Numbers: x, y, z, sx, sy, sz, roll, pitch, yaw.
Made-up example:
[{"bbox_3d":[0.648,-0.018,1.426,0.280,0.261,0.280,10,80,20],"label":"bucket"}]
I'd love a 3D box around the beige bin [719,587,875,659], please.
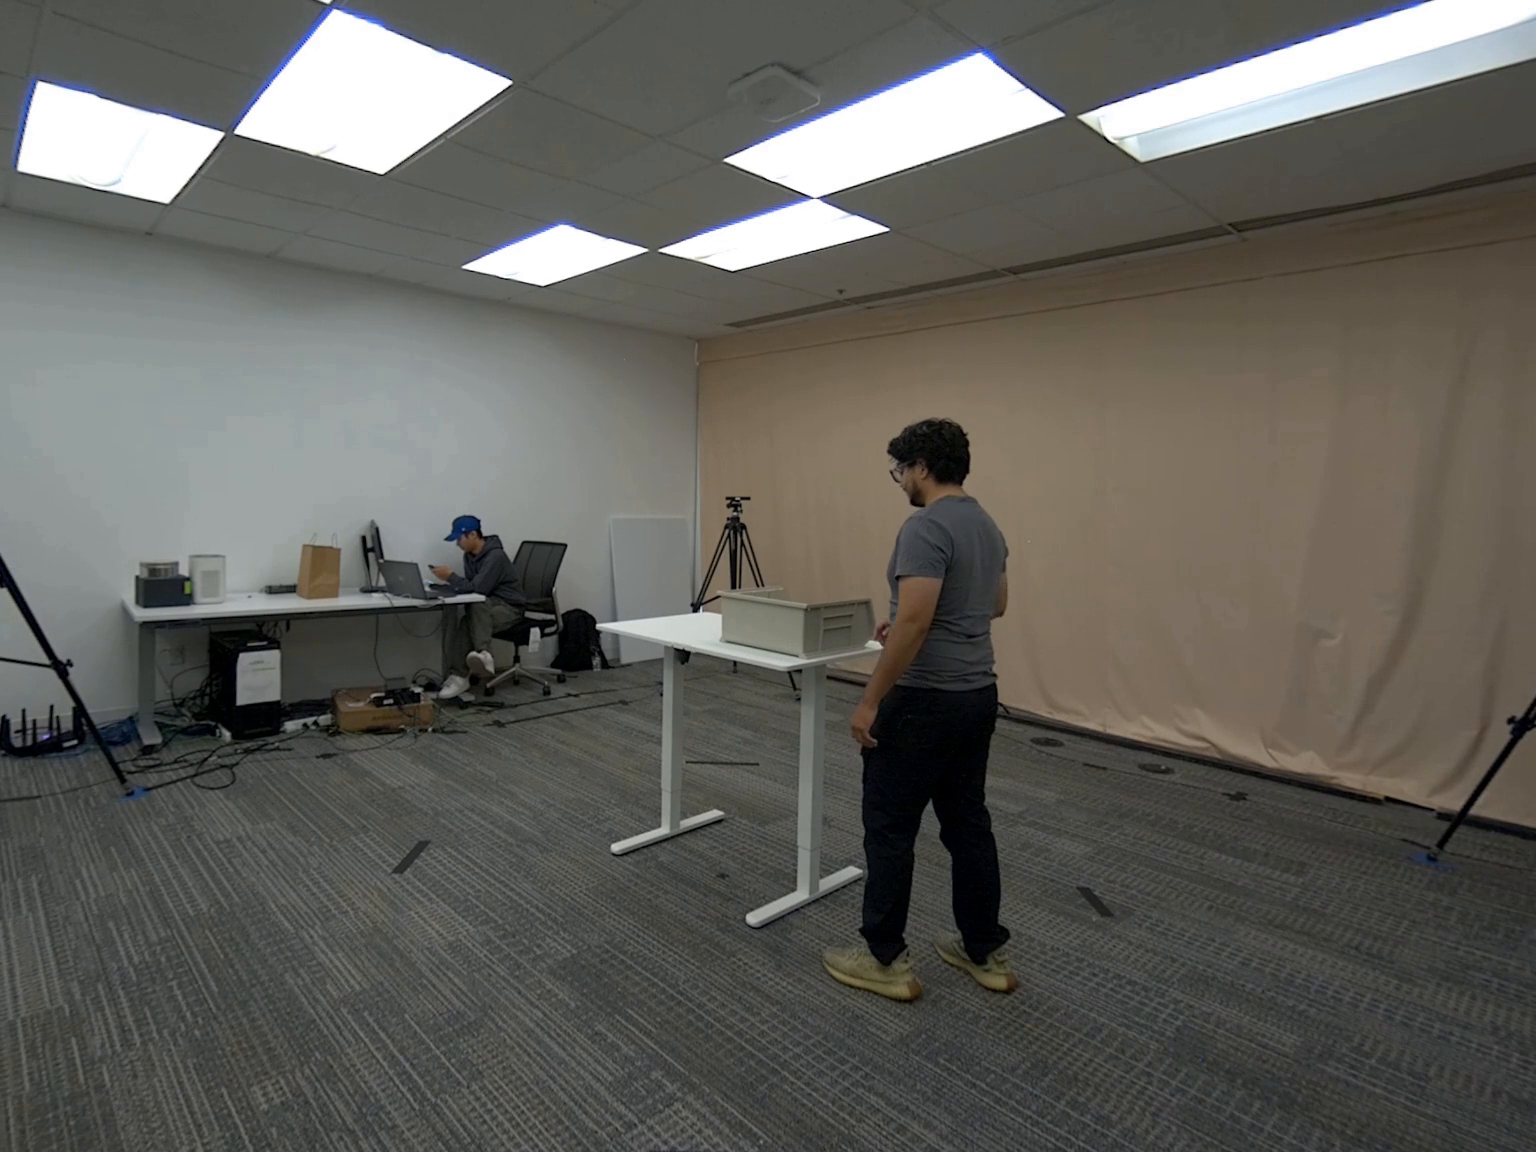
[{"bbox_3d":[0.092,0.155,2.962,0.369,0.188,0.433,-5,9,-44],"label":"beige bin"}]
